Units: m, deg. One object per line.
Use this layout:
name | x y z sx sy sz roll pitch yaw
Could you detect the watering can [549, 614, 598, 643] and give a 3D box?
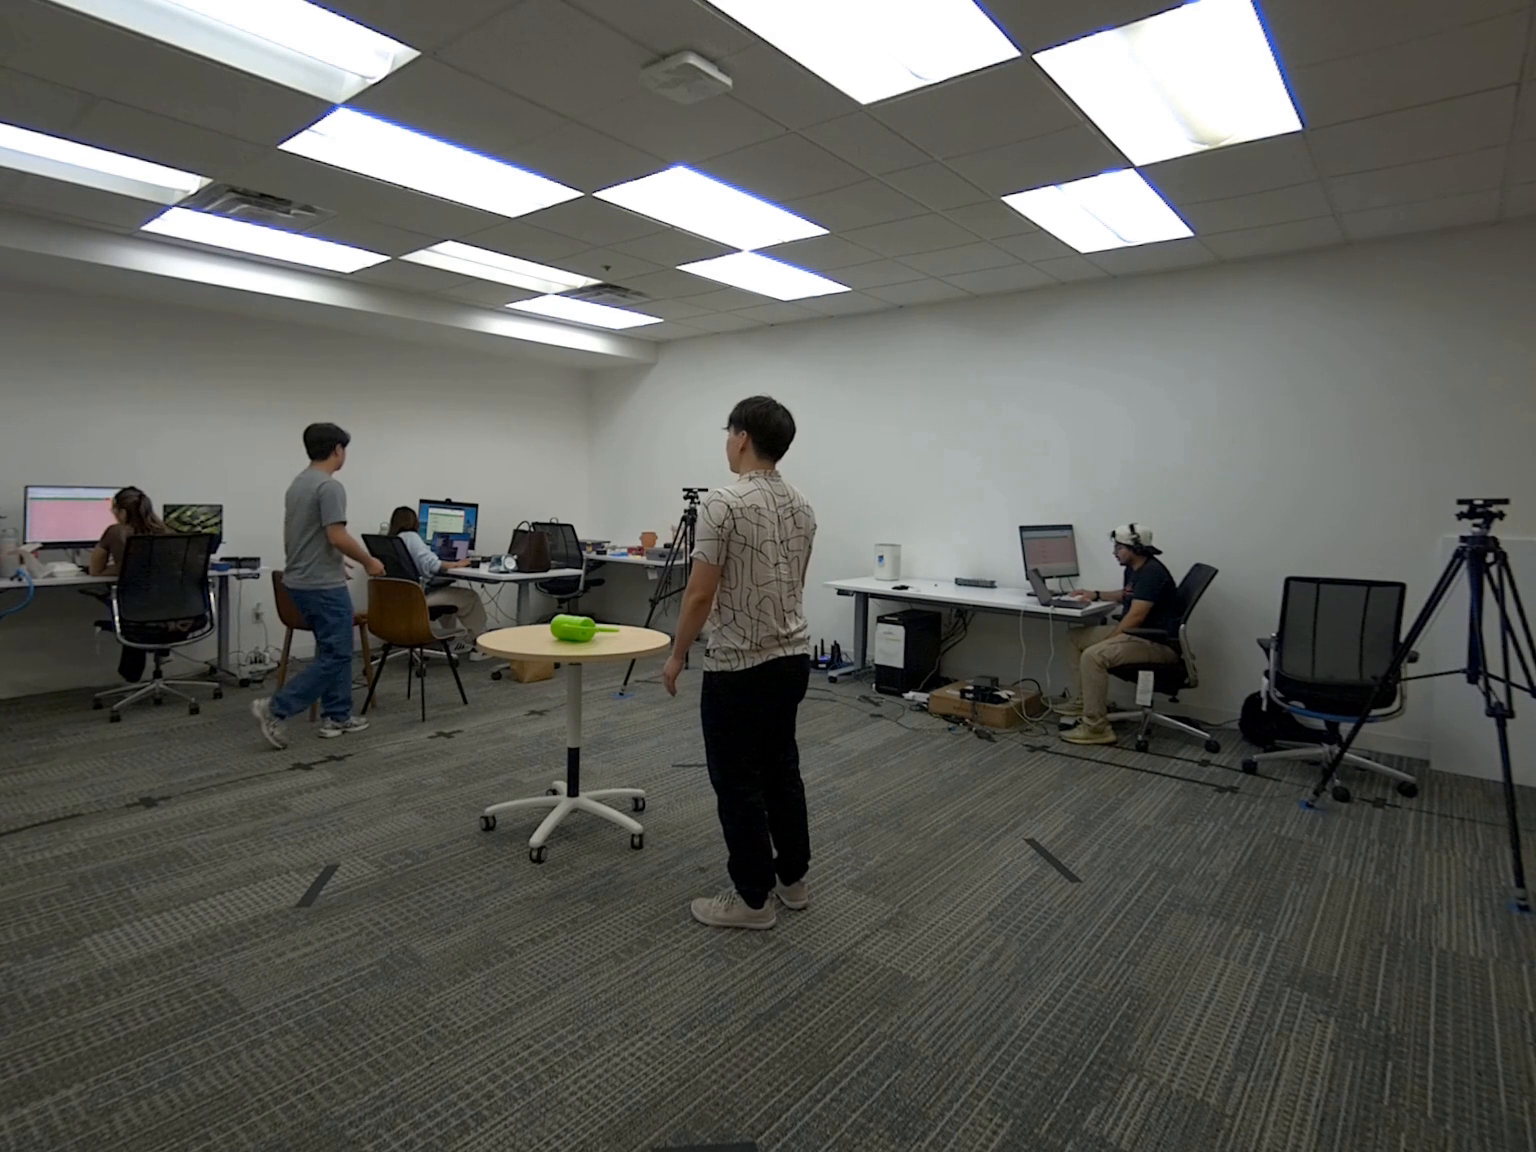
watering can | -0.749 0.218 3.390 0.181 0.099 0.268 4 -15 23
